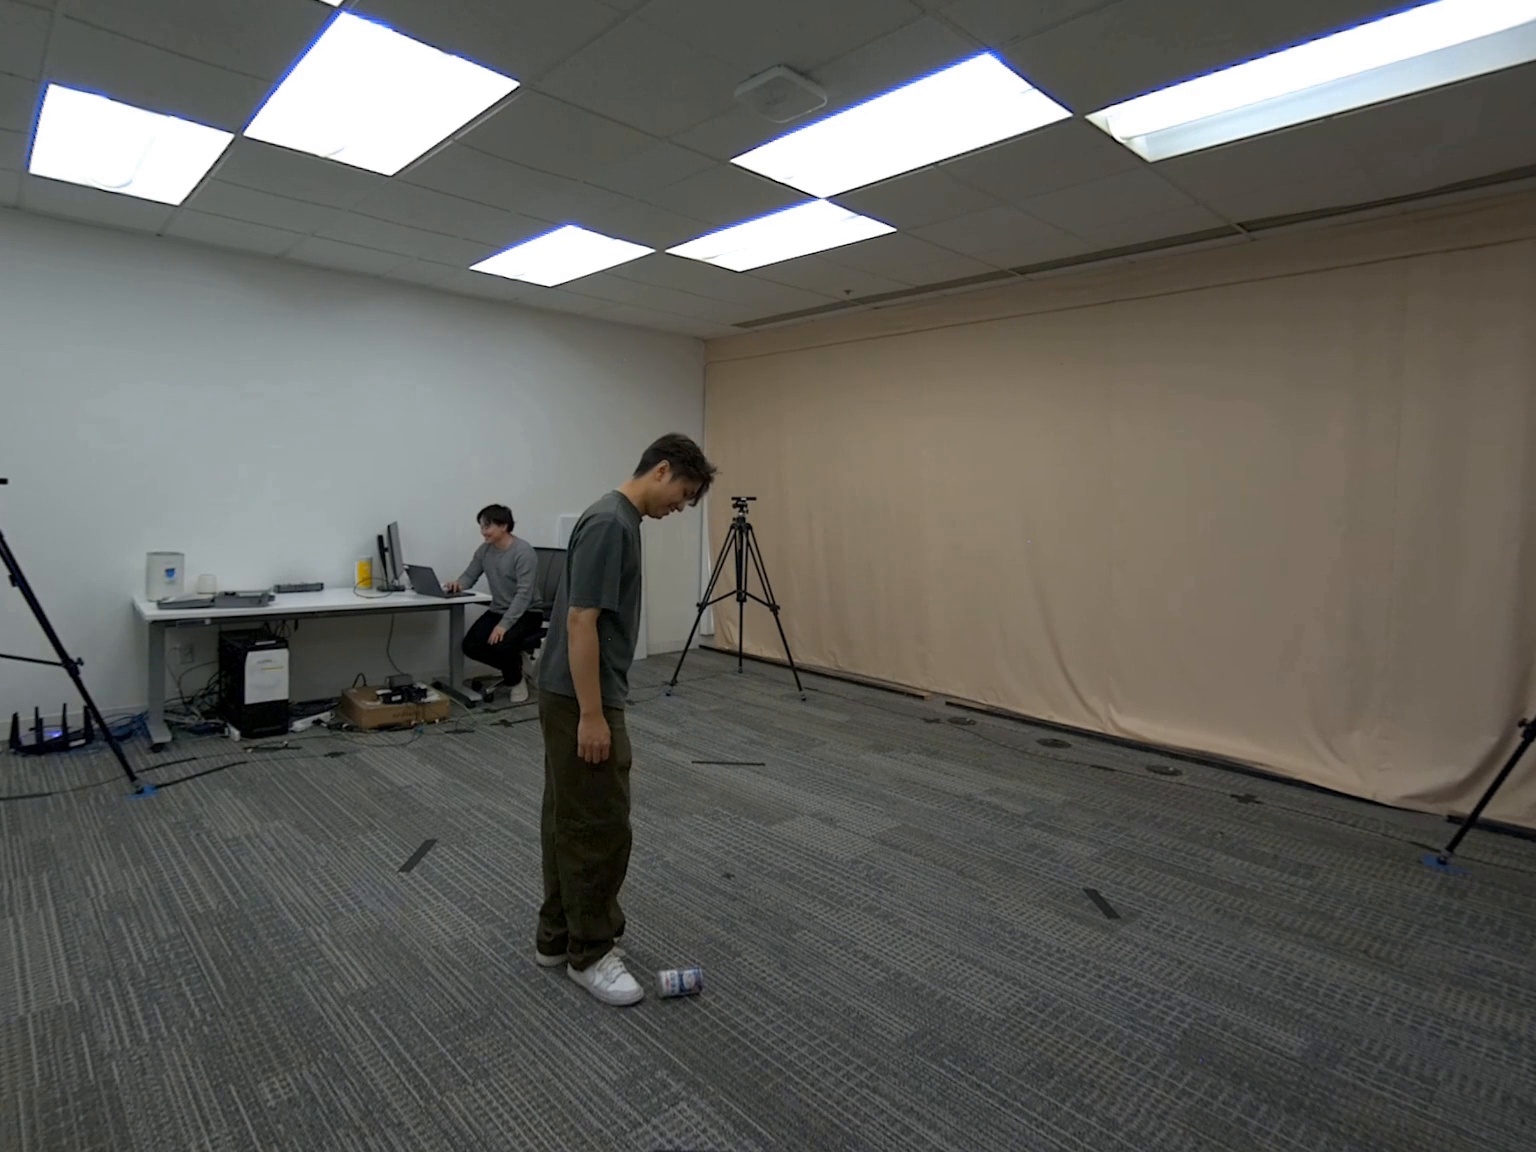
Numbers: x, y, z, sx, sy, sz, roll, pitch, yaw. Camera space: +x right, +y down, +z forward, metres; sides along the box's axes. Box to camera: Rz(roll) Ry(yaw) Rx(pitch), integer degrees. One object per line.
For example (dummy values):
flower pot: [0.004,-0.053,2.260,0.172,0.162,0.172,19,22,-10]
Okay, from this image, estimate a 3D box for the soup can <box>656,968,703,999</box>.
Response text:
soup can: [-0.252,1.122,2.345,0.121,0.067,0.068,-3,5,-6]
